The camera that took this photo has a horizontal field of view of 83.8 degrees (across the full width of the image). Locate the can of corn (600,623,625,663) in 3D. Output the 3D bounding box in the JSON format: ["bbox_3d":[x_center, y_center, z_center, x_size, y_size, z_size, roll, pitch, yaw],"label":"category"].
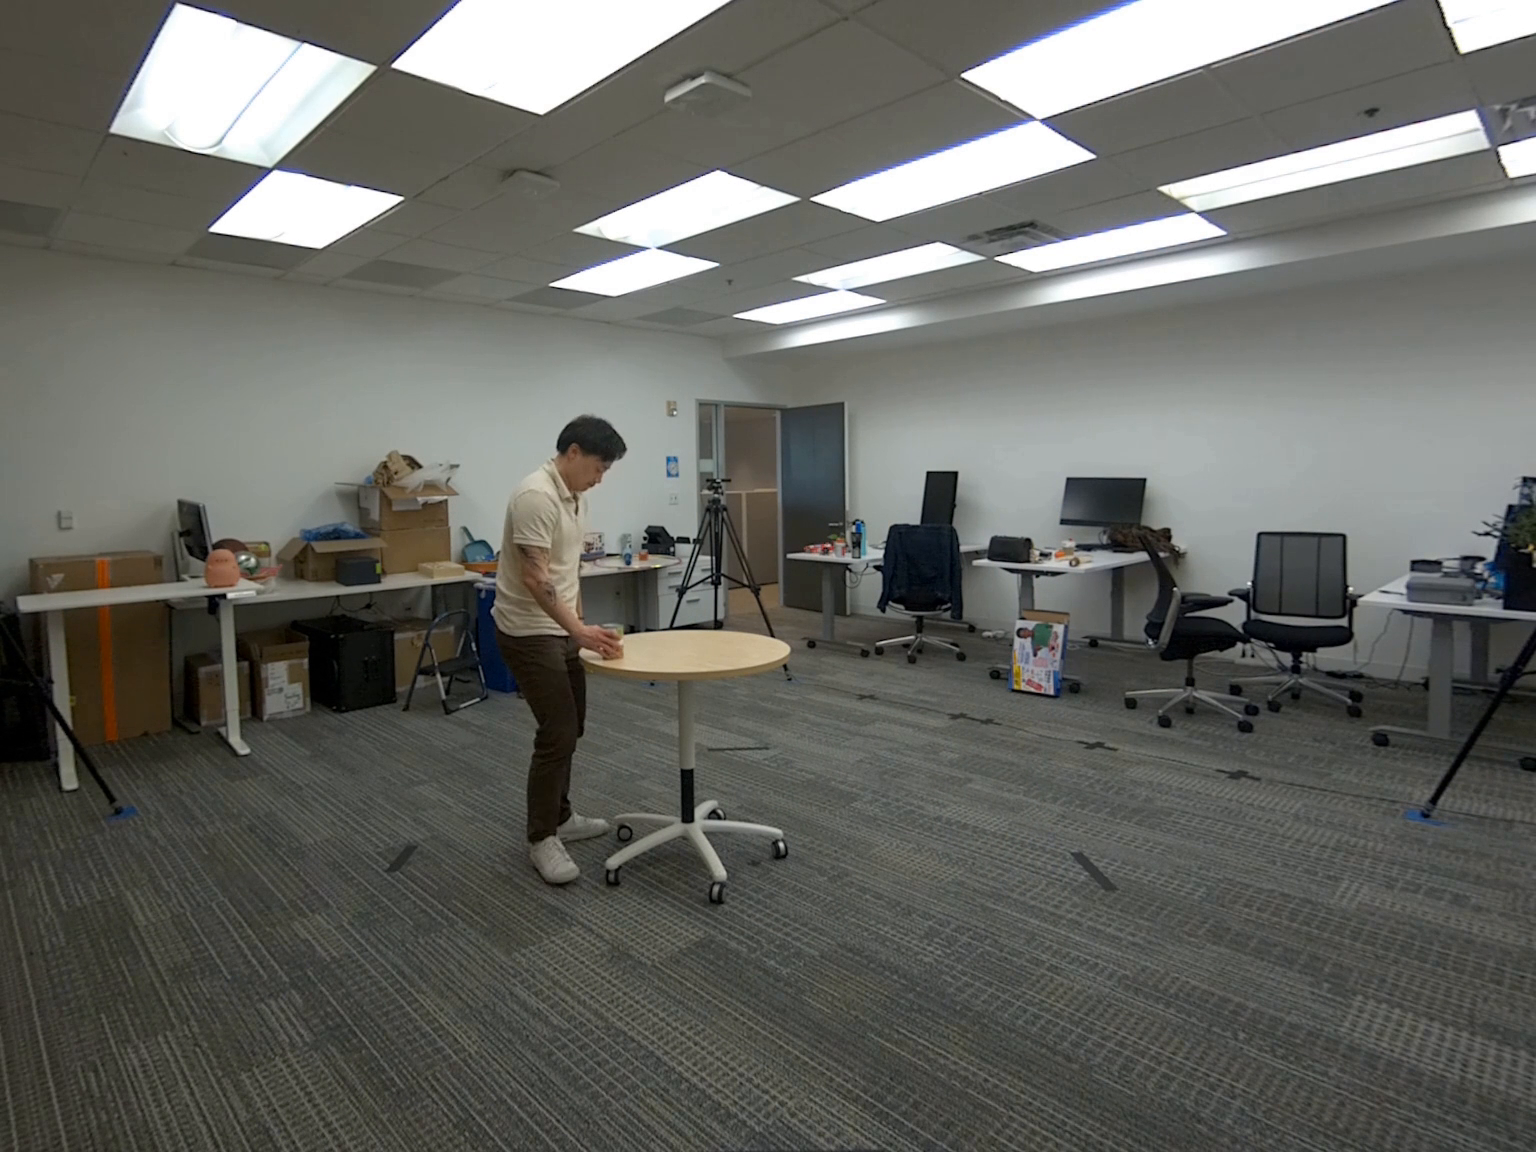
[{"bbox_3d":[-0.546,0.229,2.970,0.074,0.110,0.074,-7,5,-1],"label":"can of corn"}]
